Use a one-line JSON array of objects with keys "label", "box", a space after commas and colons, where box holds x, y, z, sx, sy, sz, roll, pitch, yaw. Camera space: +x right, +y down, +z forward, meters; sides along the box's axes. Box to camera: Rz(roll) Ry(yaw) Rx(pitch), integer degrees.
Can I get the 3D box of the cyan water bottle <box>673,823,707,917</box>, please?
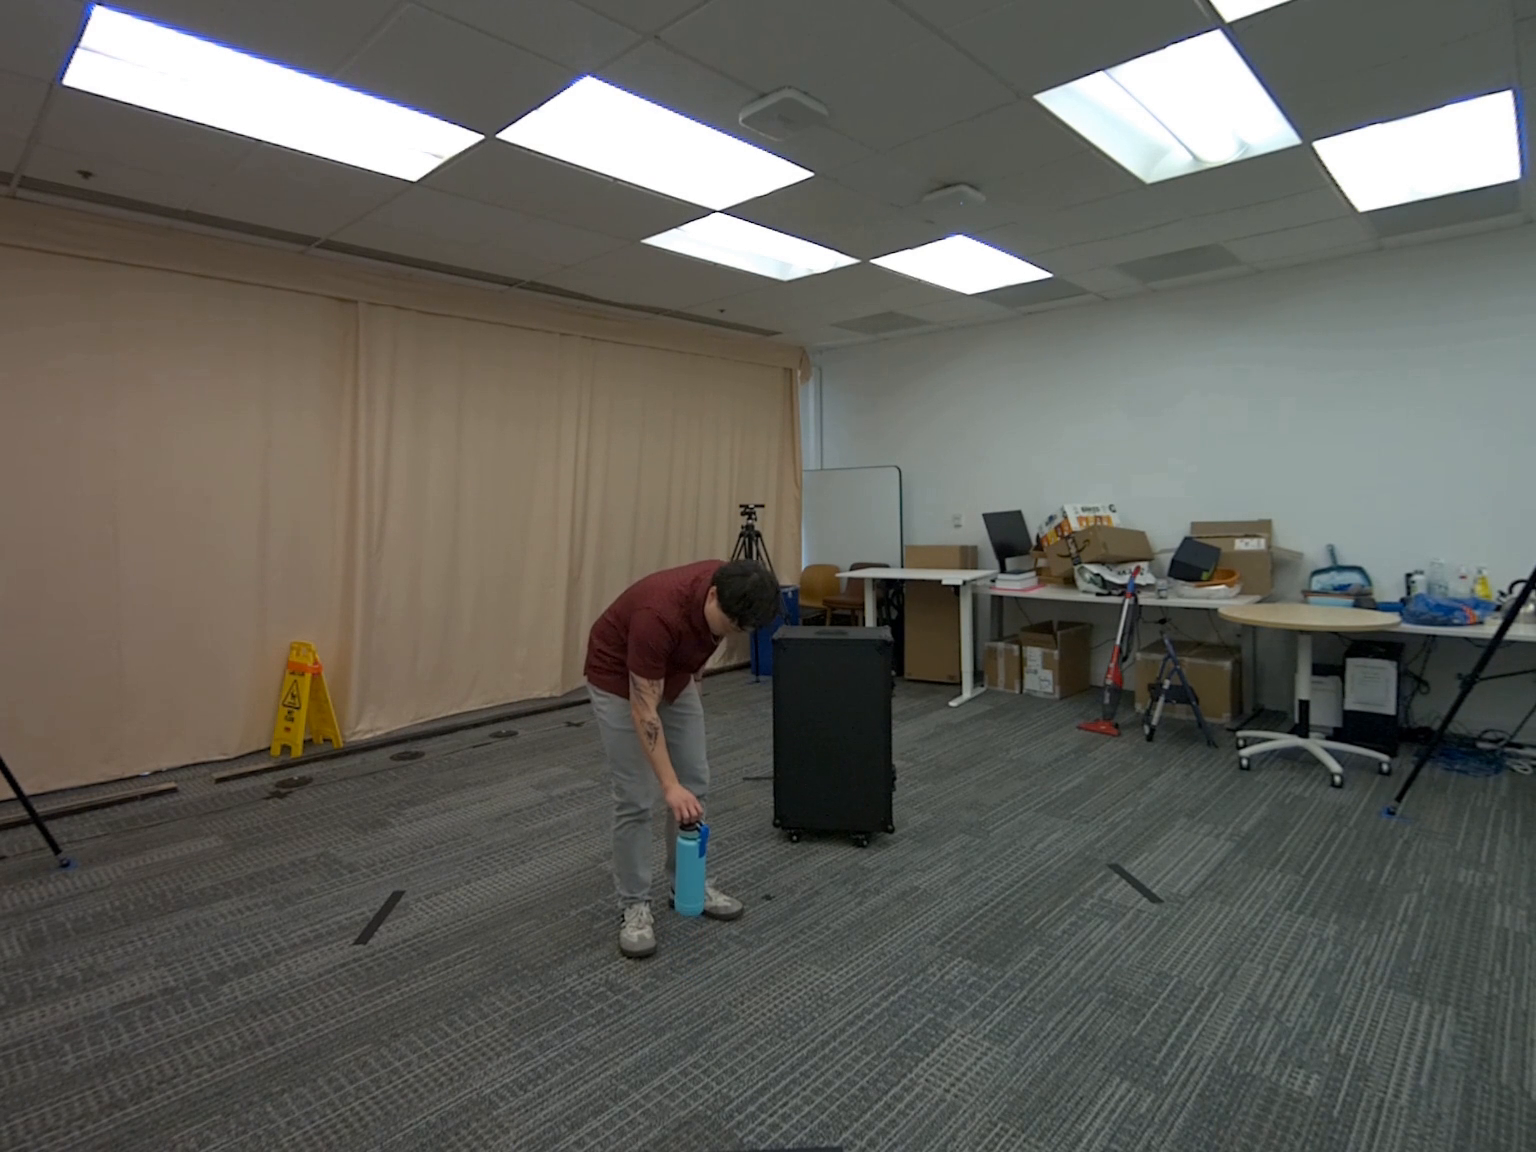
[{"label": "cyan water bottle", "box": [-0.222, 0.854, 2.513, 0.092, 0.282, 0.093, 1, 6, -2]}]
